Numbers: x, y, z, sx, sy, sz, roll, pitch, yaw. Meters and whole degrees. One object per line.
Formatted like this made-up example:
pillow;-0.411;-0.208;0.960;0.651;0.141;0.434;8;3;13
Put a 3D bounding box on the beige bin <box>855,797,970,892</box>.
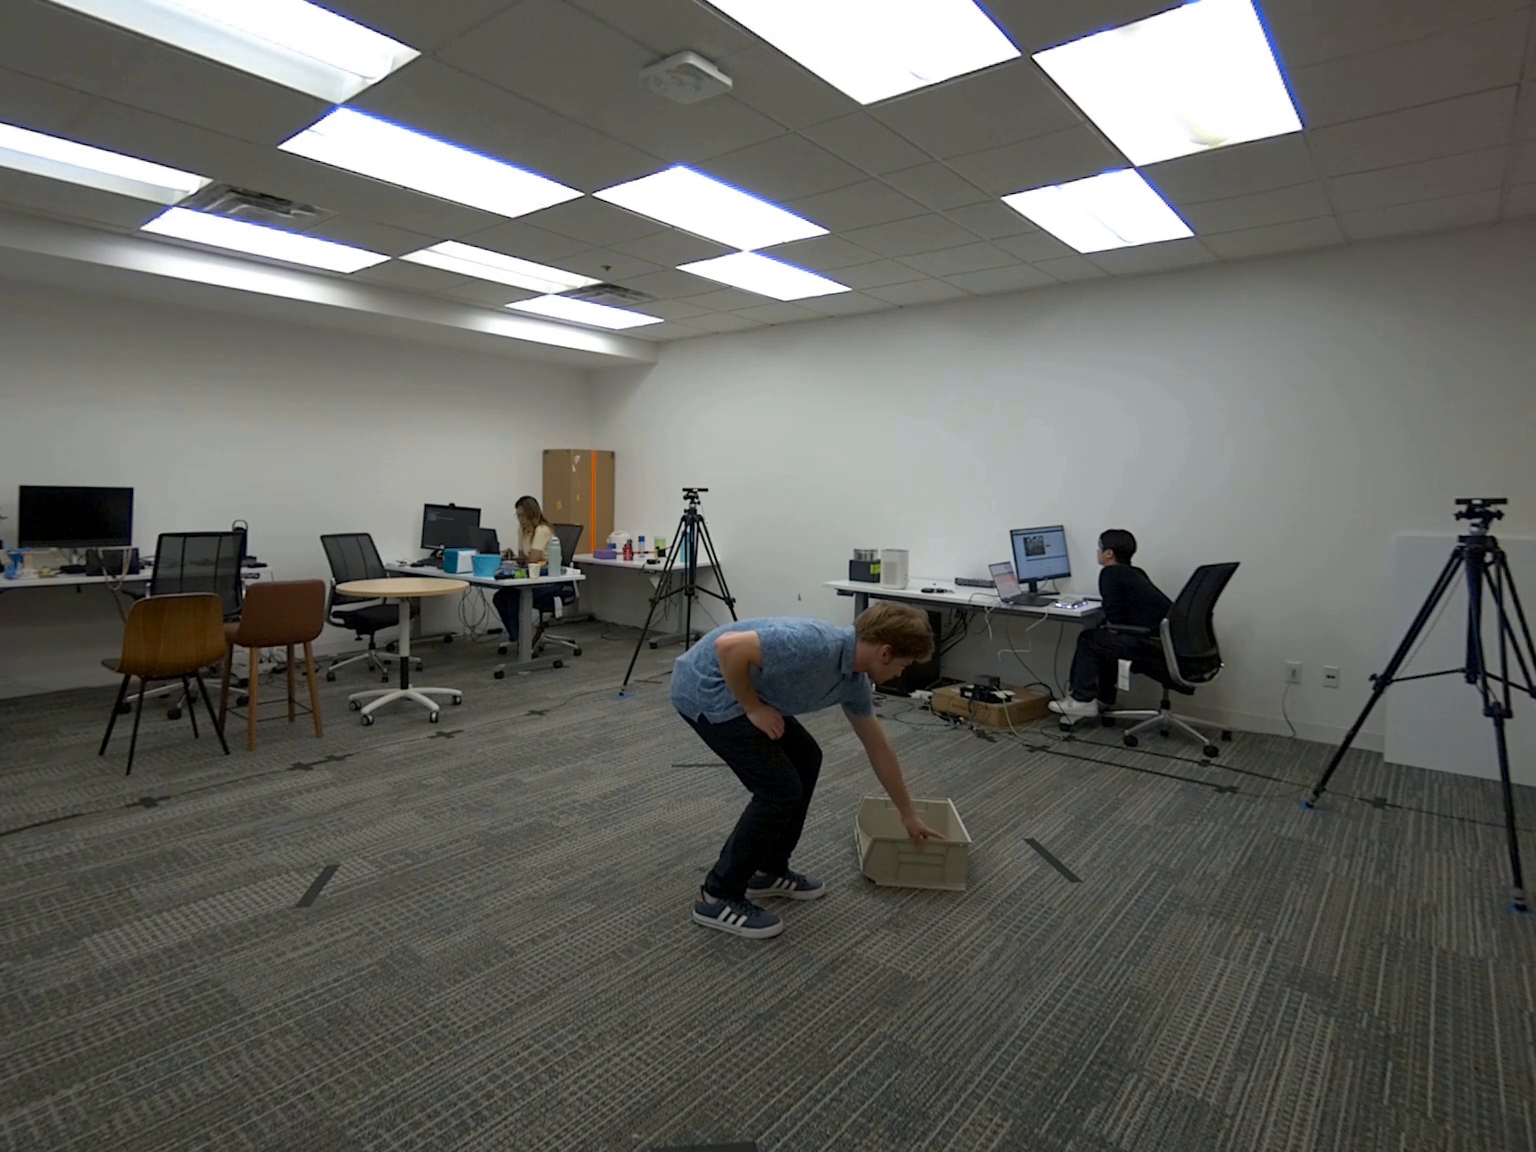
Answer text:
beige bin;0.523;0.987;3.200;0.379;0.188;0.422;2;5;3
